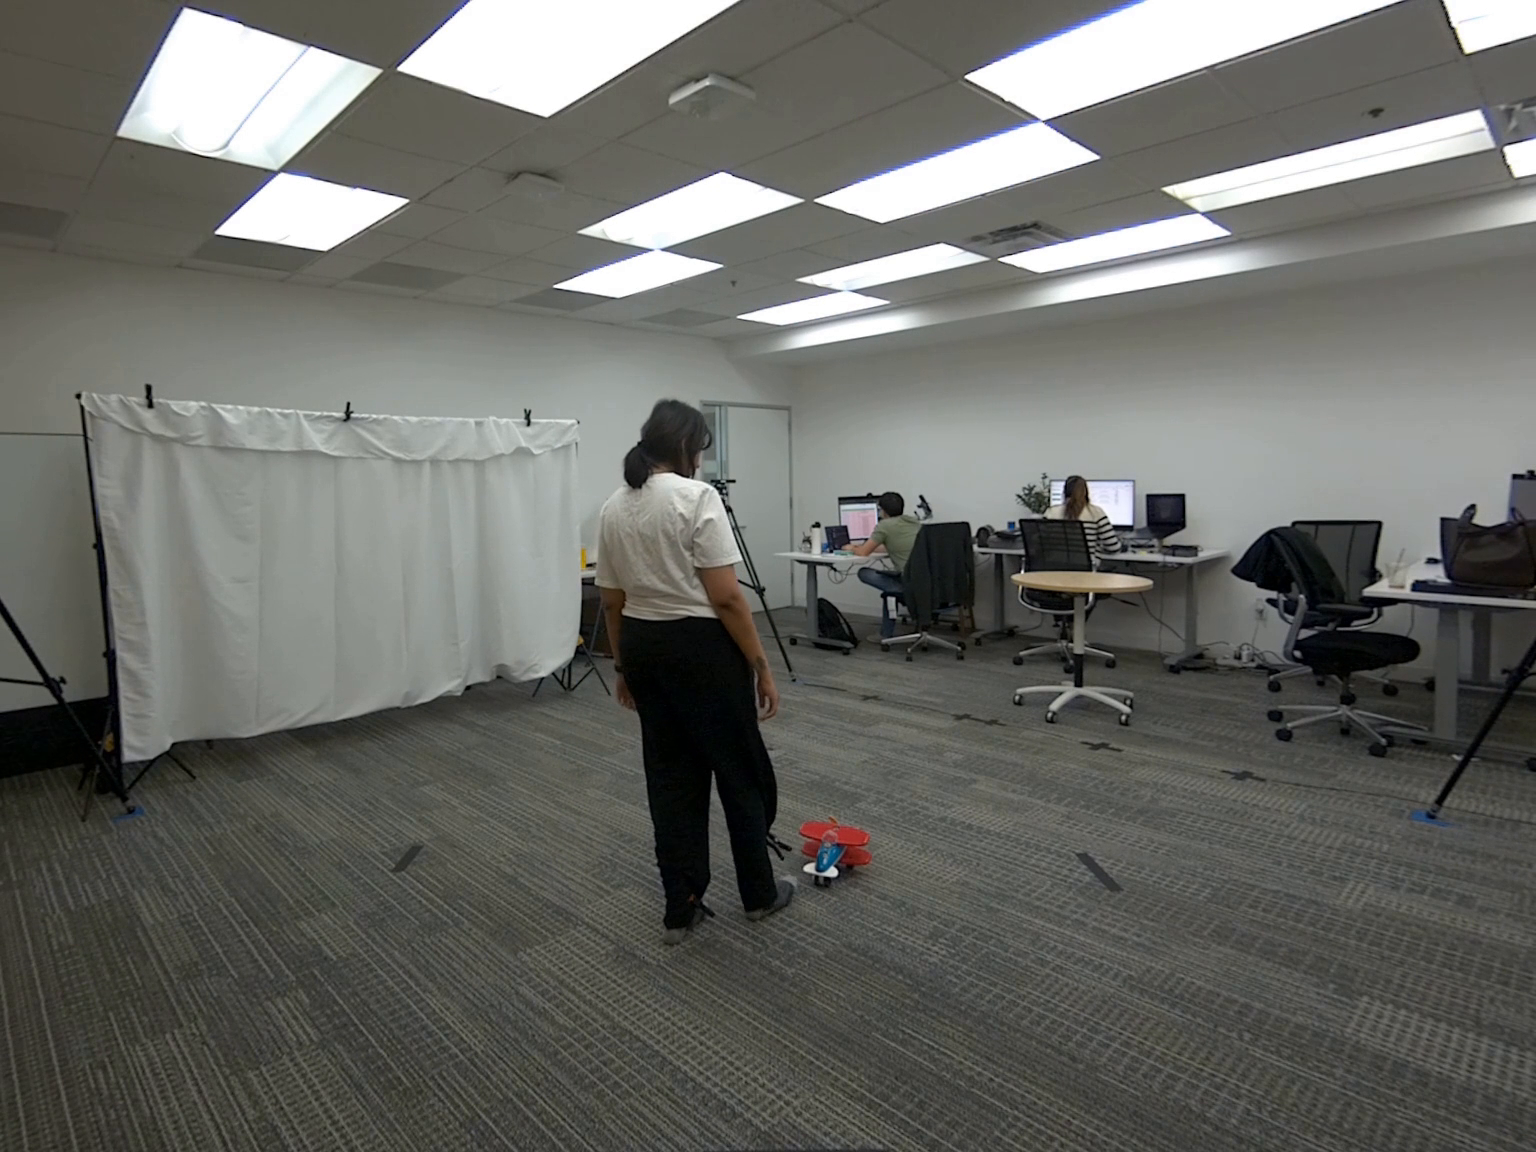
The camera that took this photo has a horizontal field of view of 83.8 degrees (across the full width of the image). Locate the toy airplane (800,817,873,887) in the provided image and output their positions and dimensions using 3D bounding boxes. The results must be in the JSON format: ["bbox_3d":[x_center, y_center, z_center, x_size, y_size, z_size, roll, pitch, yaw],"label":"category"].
[{"bbox_3d":[0.242,0.976,3.003,0.251,0.156,0.260,-1,4,-2],"label":"toy airplane"}]
